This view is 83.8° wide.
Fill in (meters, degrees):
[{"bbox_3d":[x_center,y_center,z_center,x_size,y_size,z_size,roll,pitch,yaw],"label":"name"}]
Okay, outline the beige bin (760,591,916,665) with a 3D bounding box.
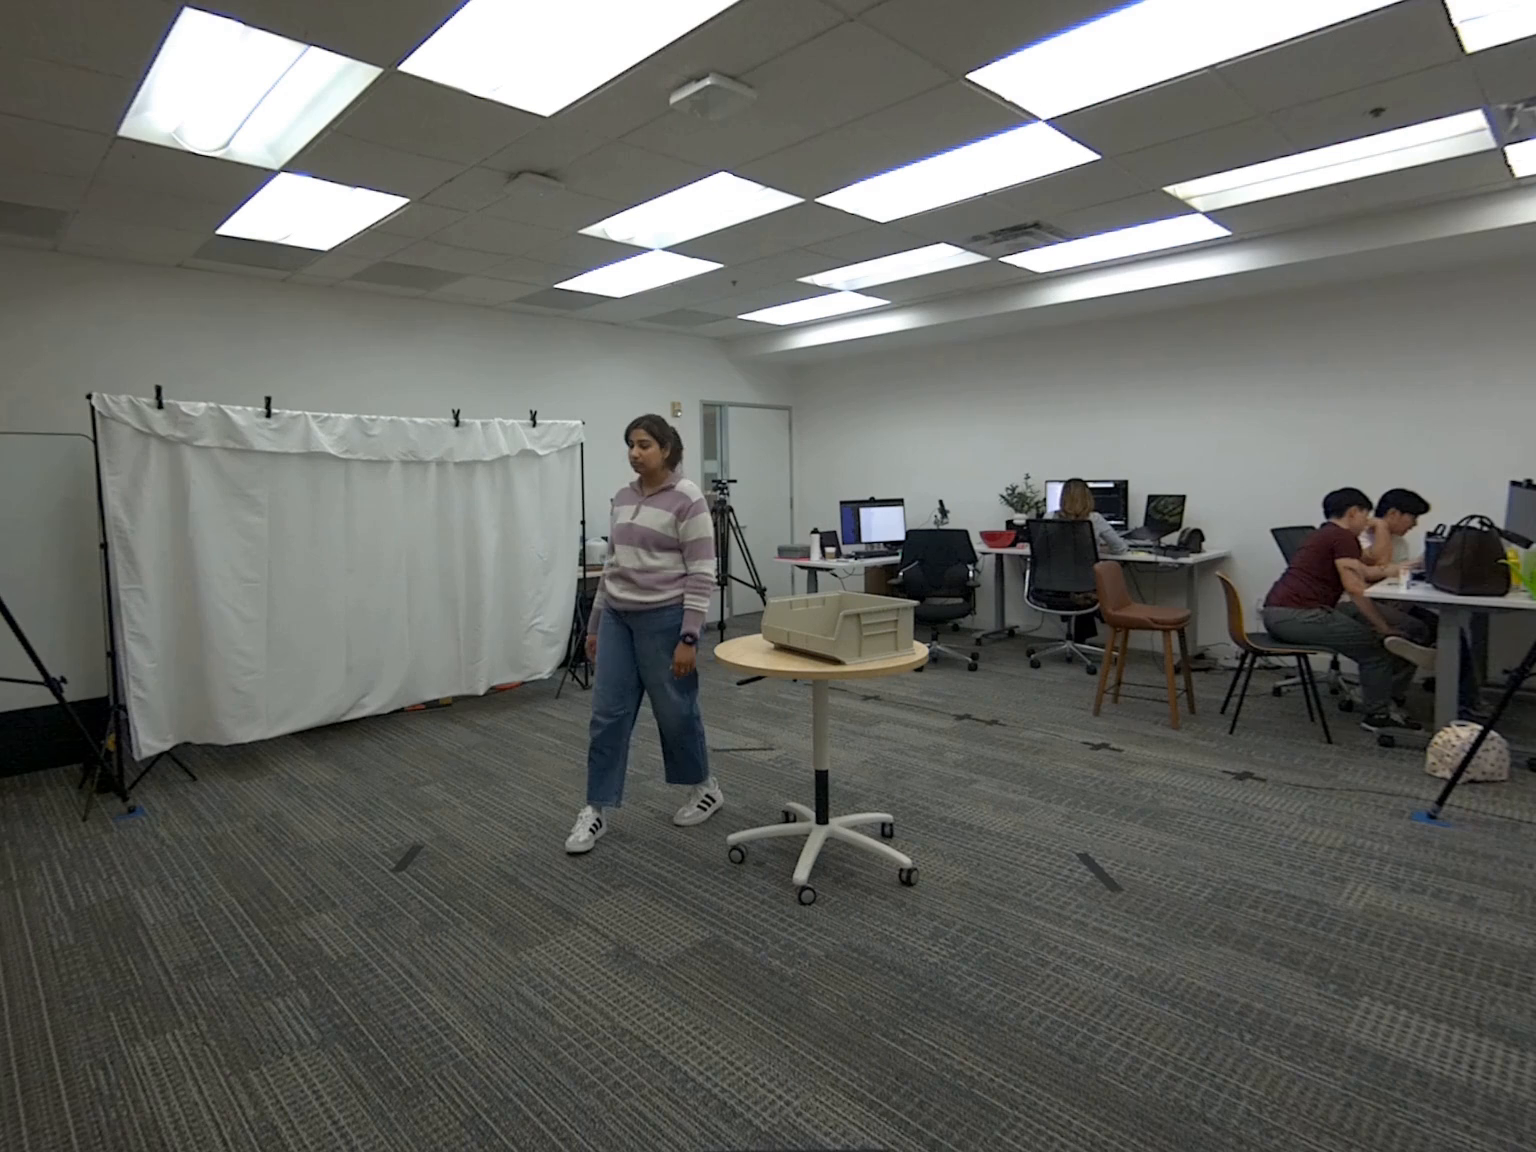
[{"bbox_3d":[0.246,0.177,3.022,0.368,0.188,0.434,-4,6,-33],"label":"beige bin"}]
